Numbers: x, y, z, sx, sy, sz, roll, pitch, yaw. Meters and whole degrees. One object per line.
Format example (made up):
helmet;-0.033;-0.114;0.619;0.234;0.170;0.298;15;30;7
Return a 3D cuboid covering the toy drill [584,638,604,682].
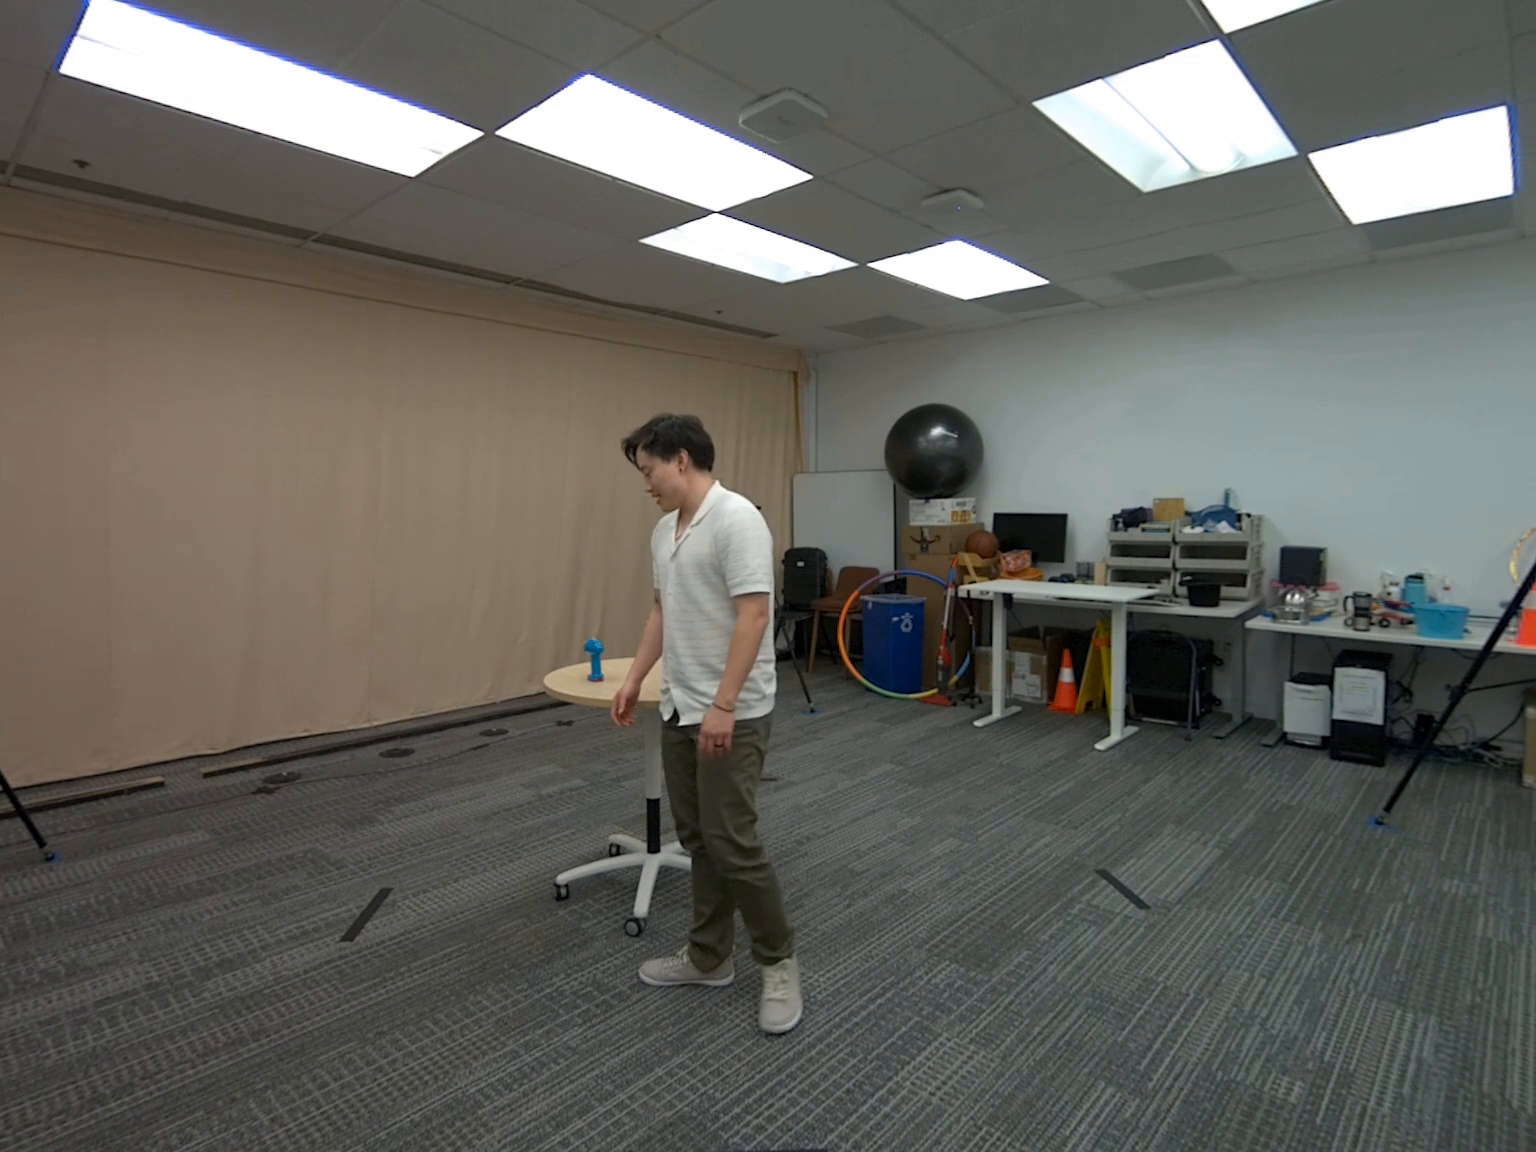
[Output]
toy drill;-0.626;0.291;2.981;0.059;0.146;0.175;0;5;-32
